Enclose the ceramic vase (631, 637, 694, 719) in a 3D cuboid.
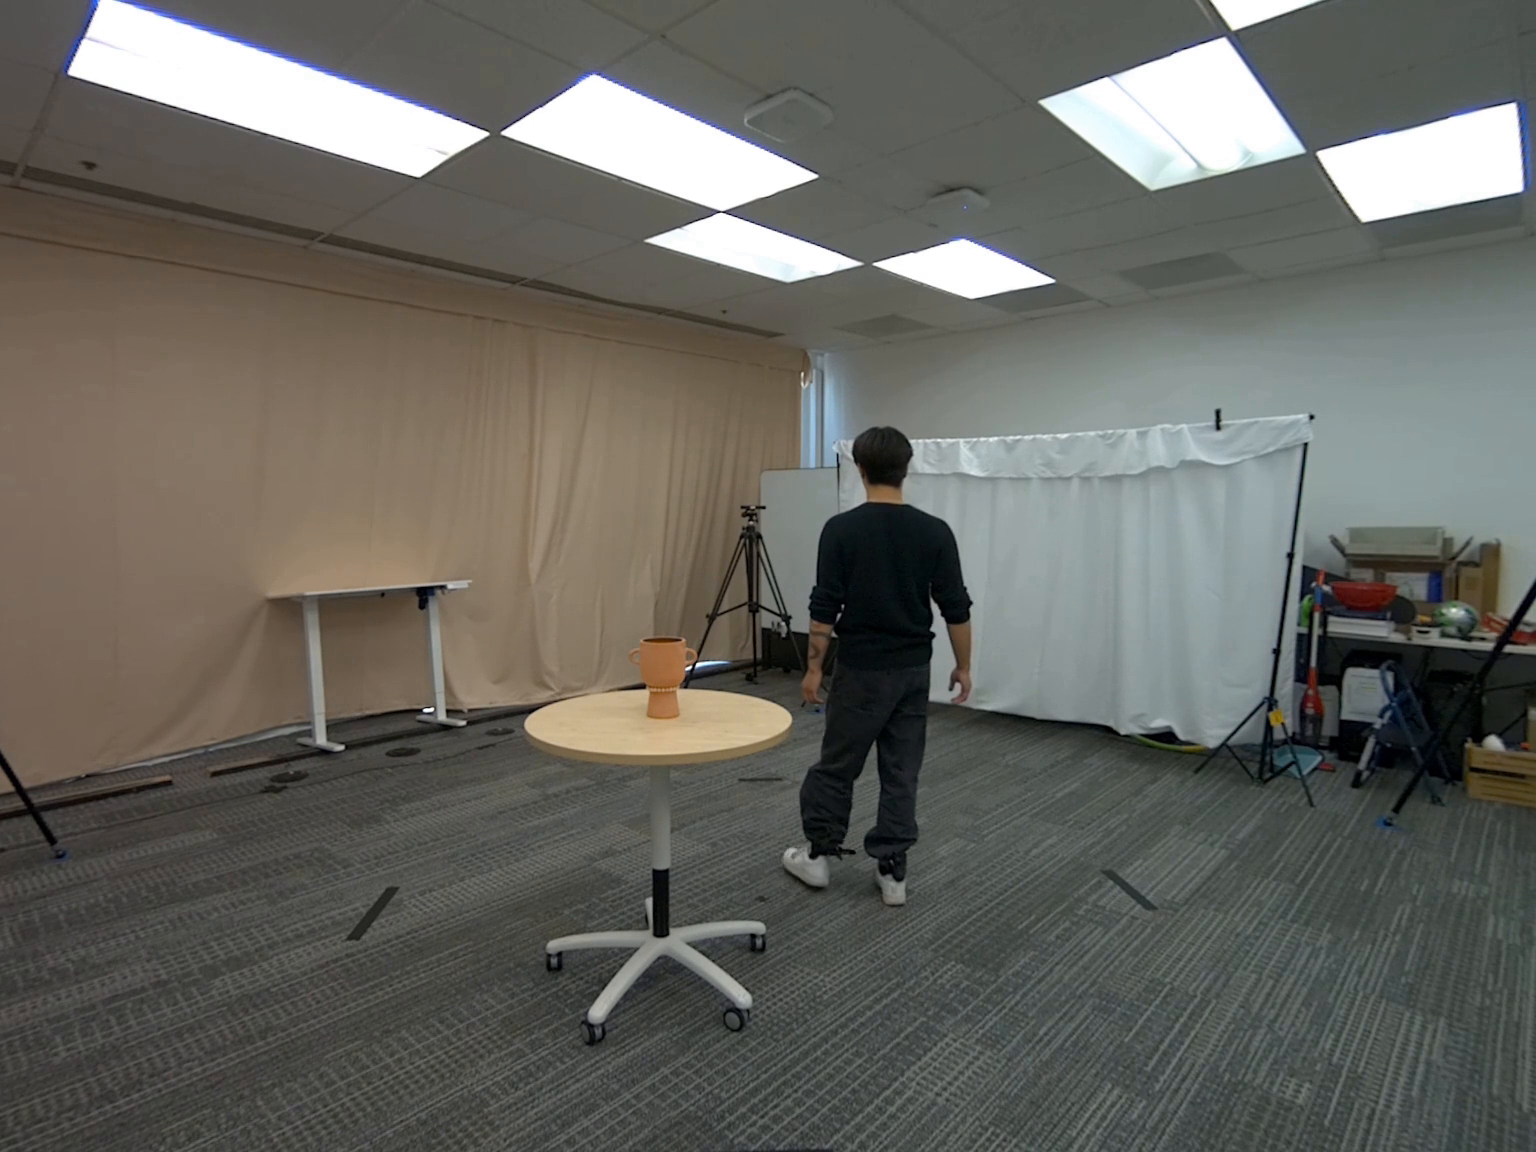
[{"bbox_3d":[-0.307,0.299,2.450,0.164,0.219,0.130,1,3,37],"label":"ceramic vase"}]
